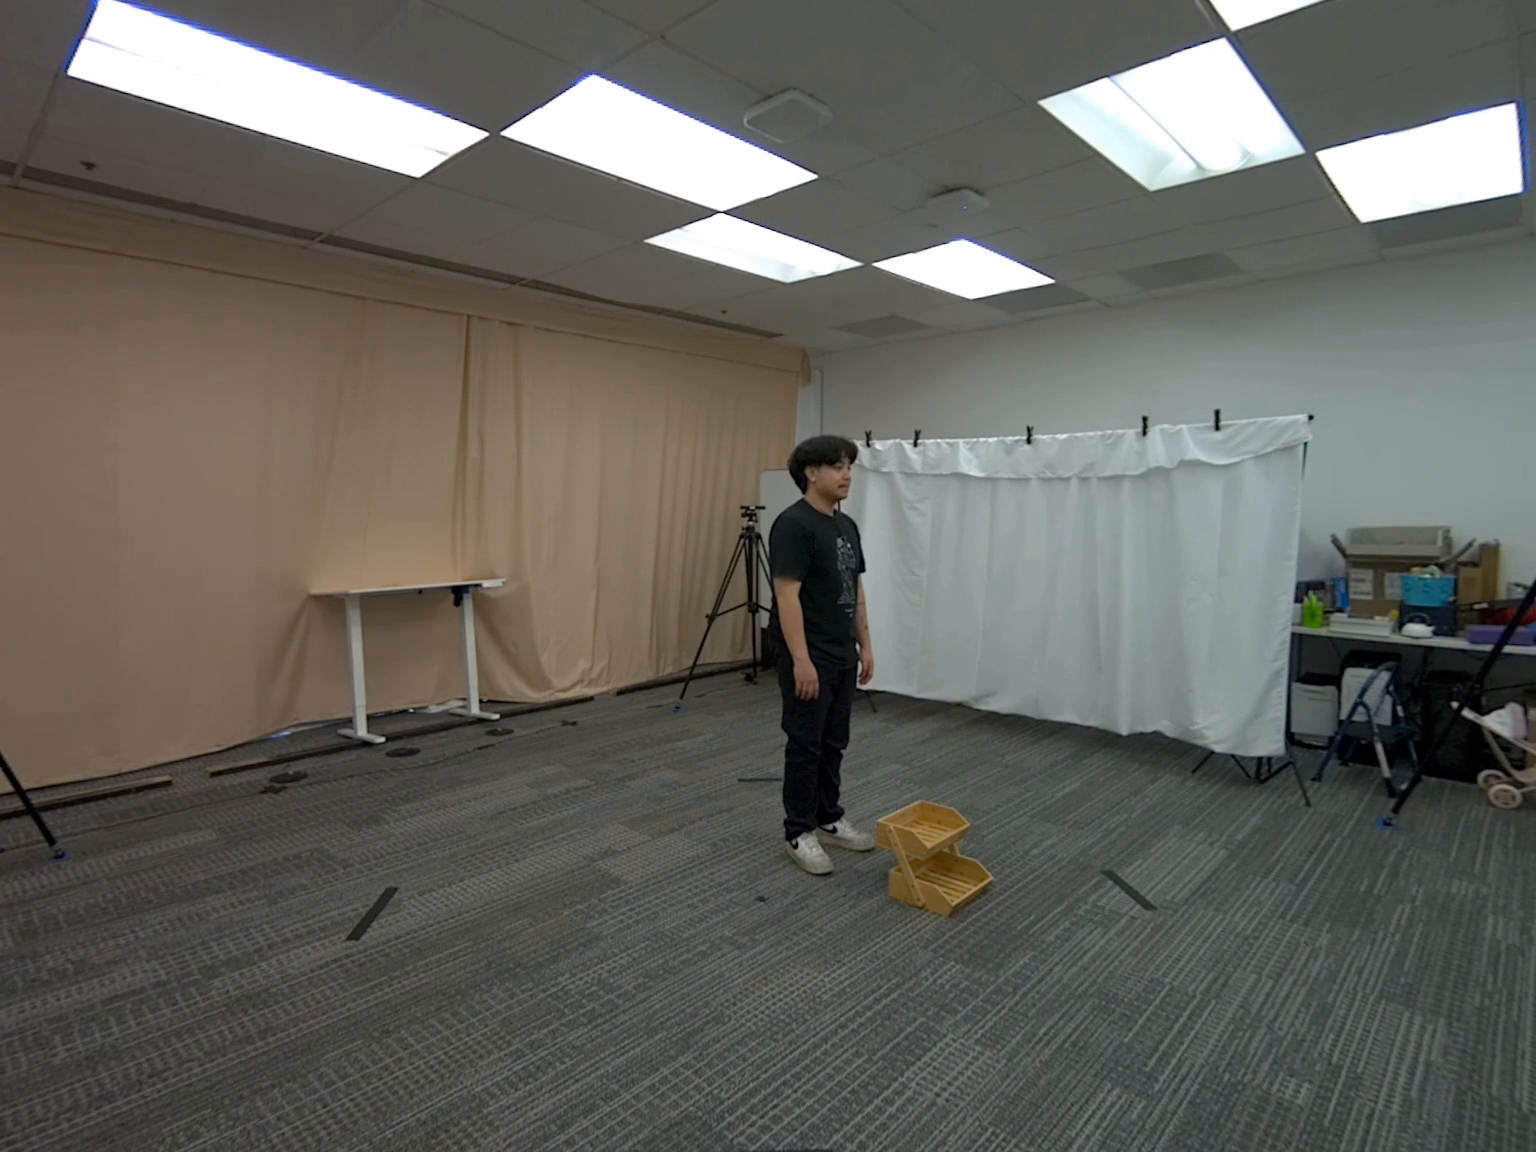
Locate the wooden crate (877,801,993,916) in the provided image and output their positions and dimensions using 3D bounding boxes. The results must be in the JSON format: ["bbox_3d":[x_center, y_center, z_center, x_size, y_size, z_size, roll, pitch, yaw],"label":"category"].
[{"bbox_3d":[0.612,1.005,3.027,0.312,0.273,0.314,2,4,42],"label":"wooden crate"}]
